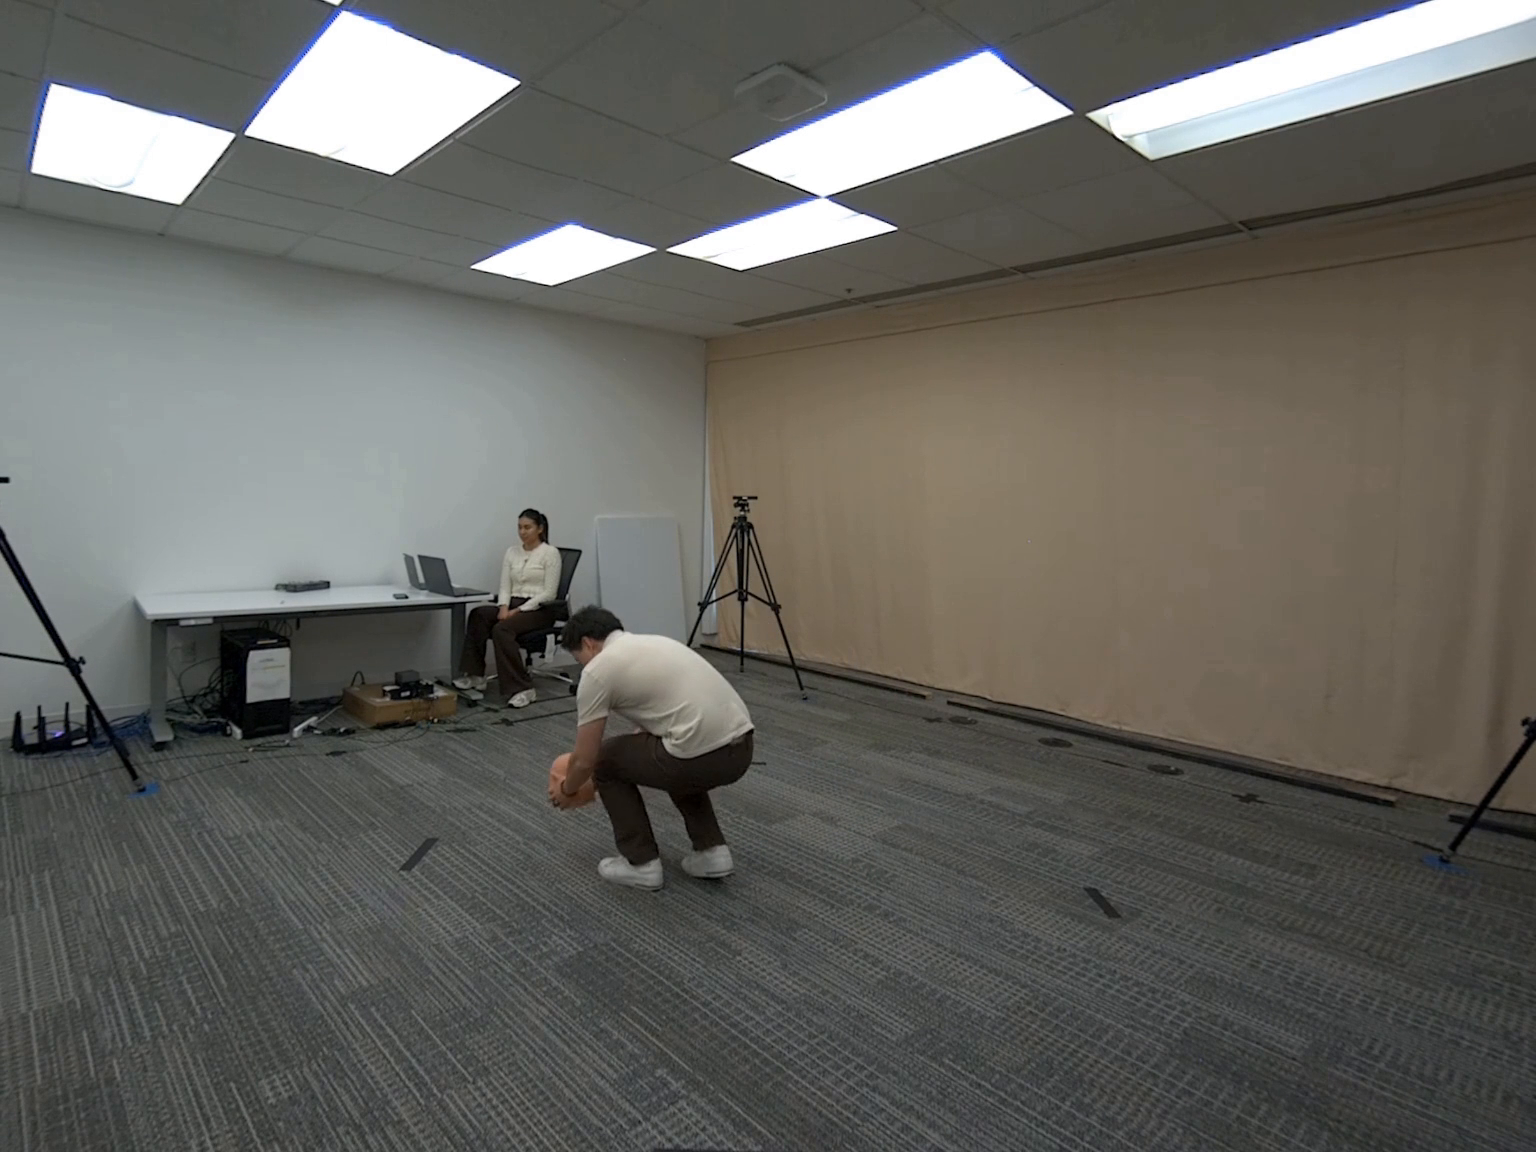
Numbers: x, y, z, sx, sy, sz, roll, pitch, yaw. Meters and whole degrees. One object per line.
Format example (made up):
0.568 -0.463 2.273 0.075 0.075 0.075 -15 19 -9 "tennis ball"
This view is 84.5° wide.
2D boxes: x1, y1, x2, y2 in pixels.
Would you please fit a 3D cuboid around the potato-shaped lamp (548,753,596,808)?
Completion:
-0.752 0.770 3.241 0.174 0.195 0.165 -13 17 23 "potato-shaped lamp"
